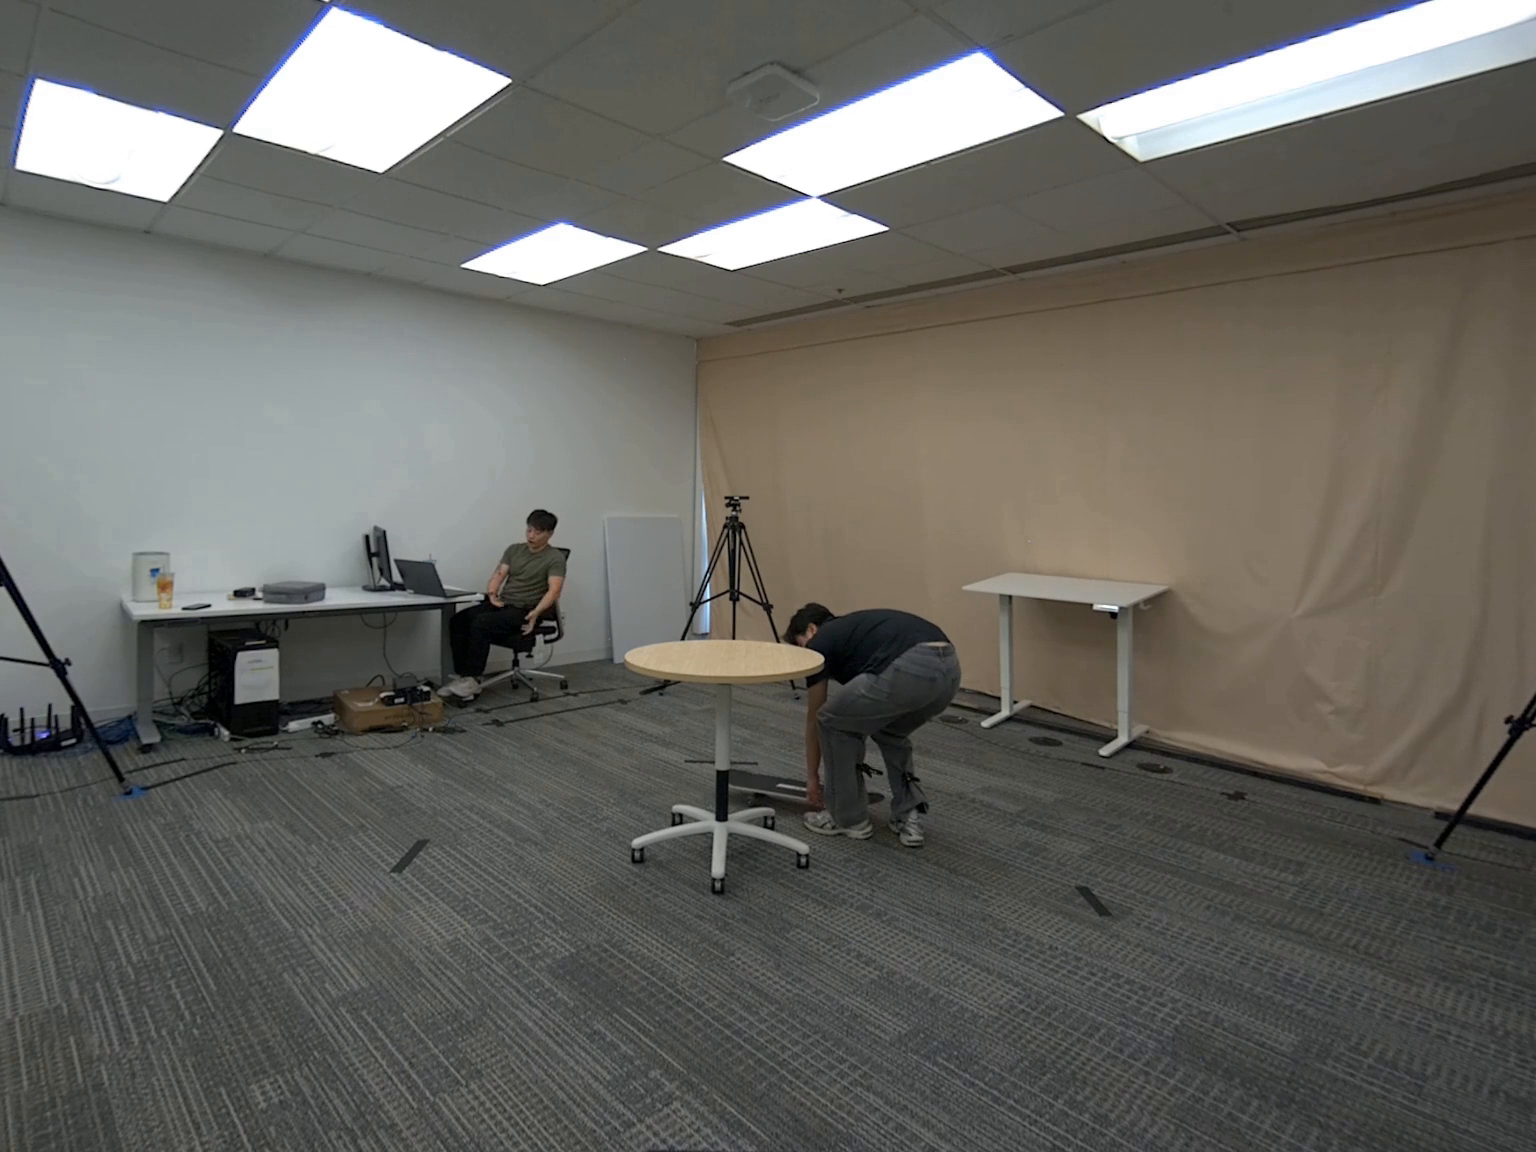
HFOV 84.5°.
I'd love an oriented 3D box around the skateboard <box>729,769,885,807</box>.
[{"bbox_3d":[0.122,0.993,3.807,0.801,0.110,0.190,4,6,27],"label":"skateboard"}]
